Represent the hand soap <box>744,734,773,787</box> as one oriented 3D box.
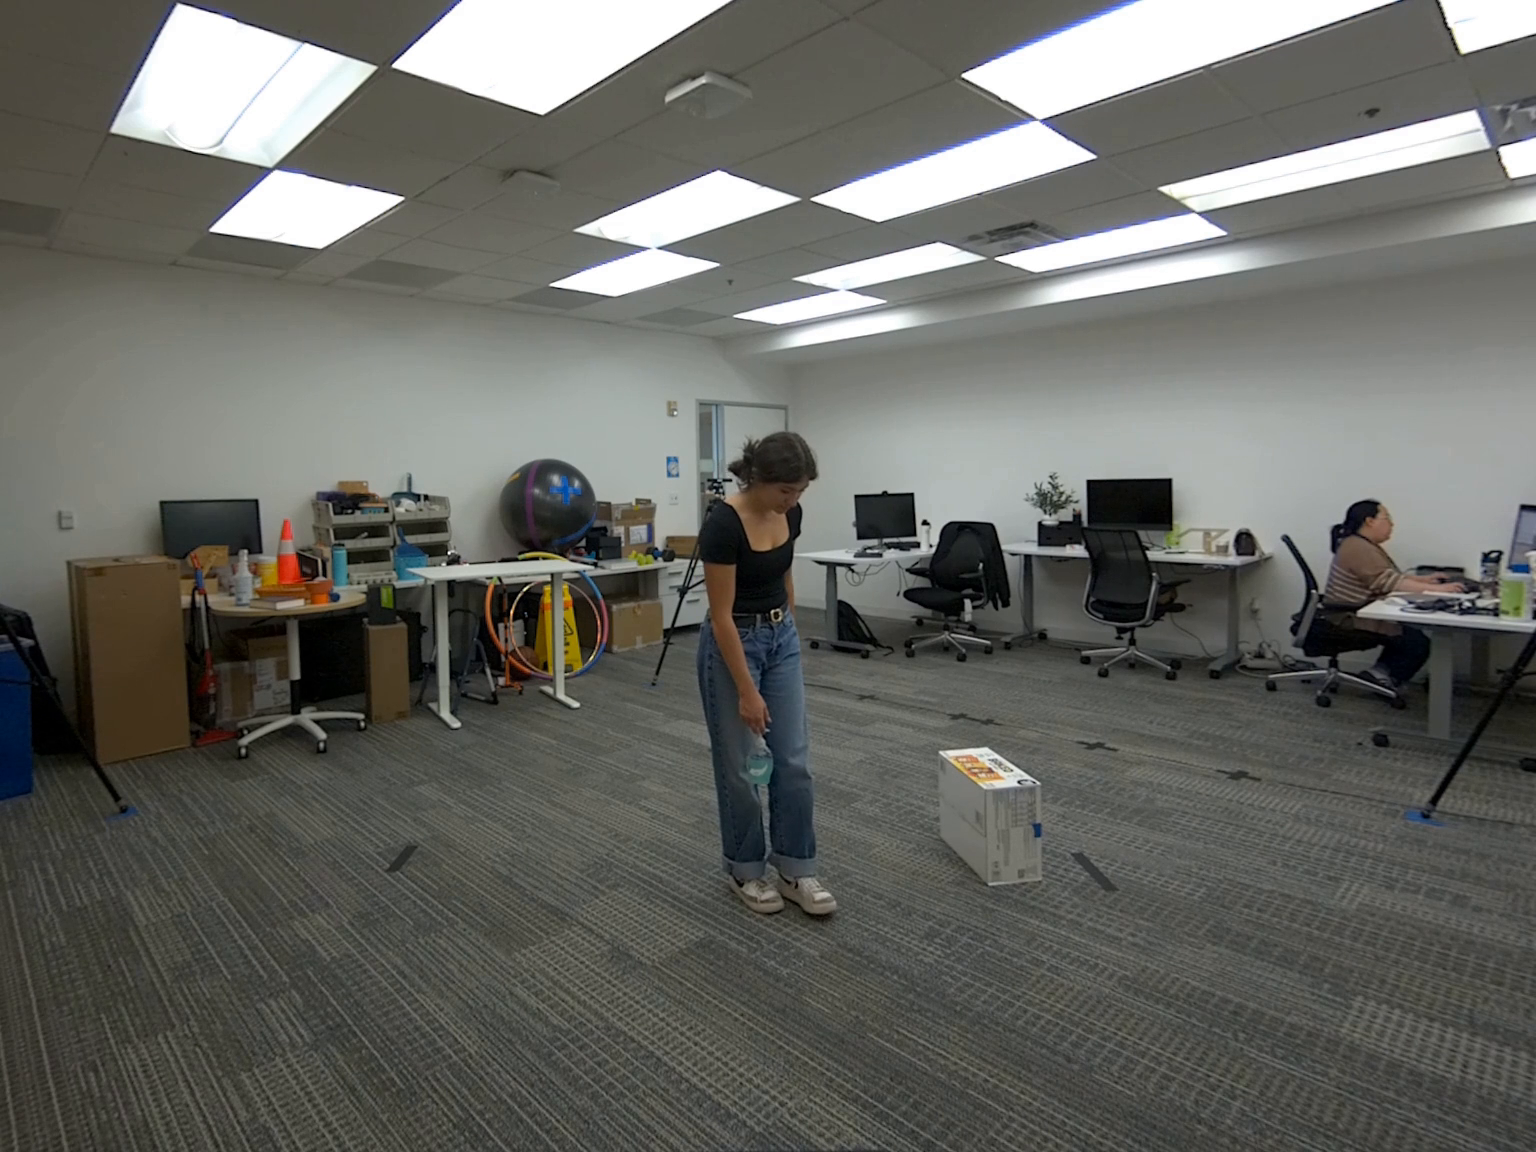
[{"bbox_3d":[-0.029,0.559,2.637,0.086,0.169,0.042,0,-4,26],"label":"hand soap"}]
